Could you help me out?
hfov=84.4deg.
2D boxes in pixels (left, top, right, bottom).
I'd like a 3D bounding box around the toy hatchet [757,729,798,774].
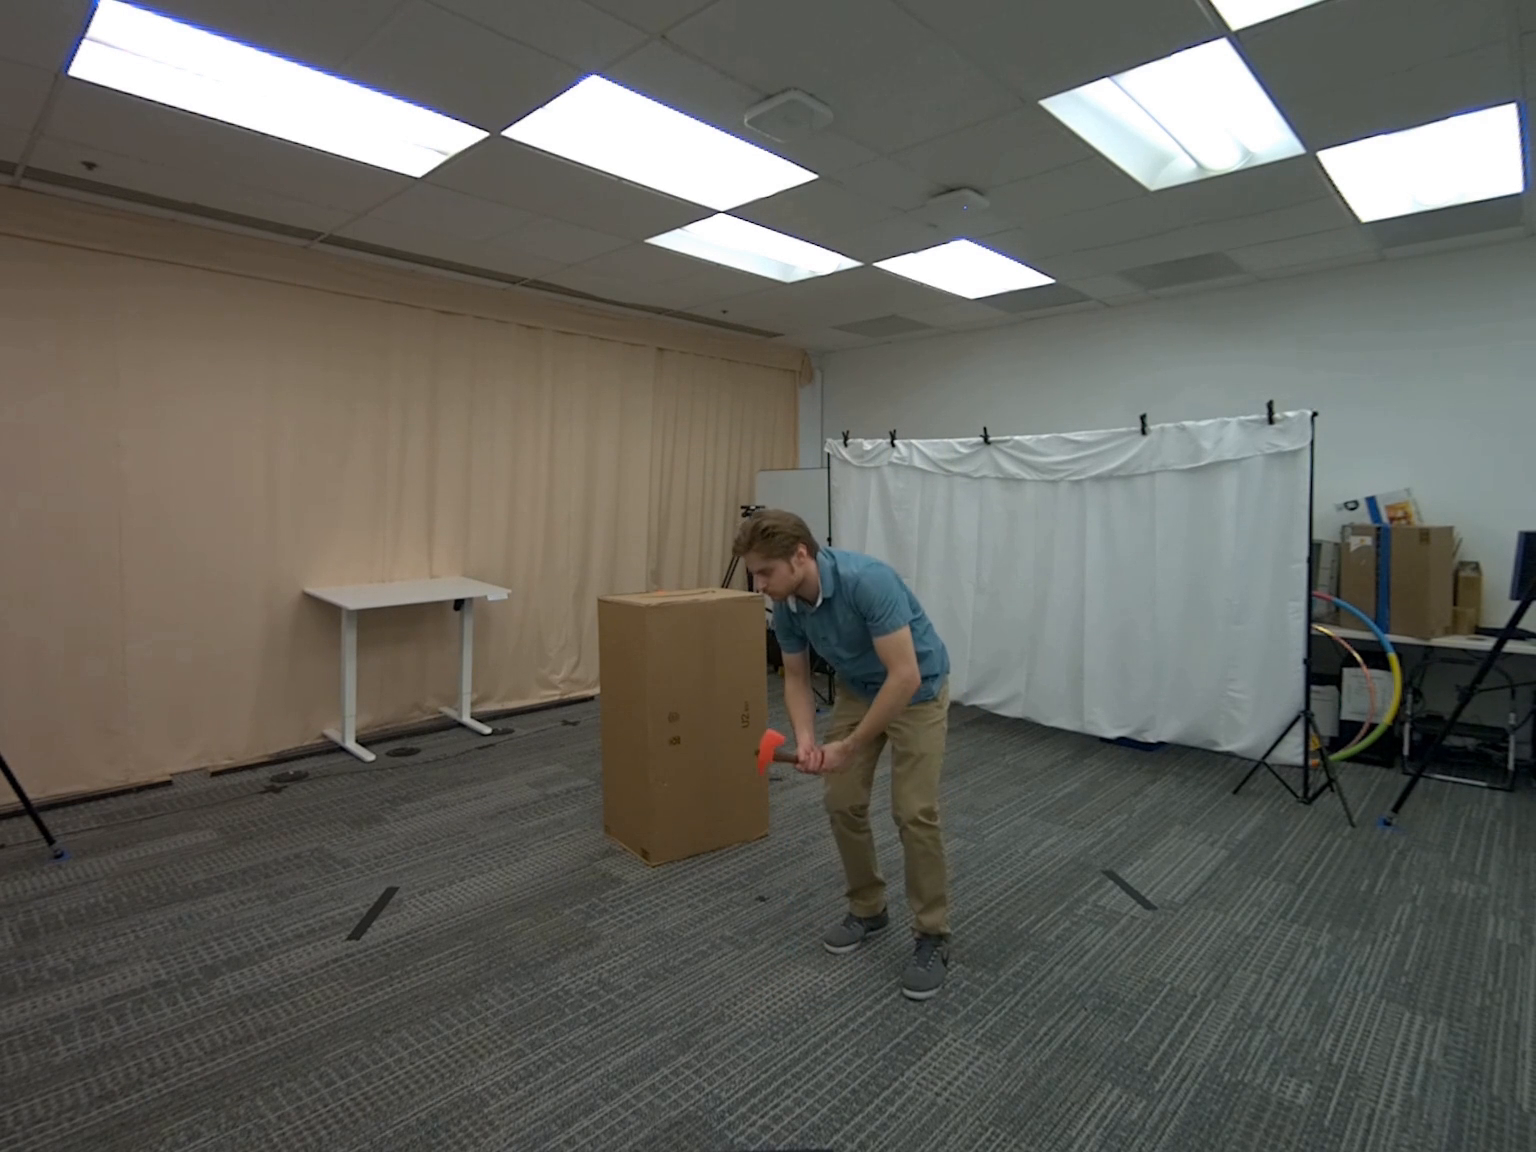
[{"bbox_3d":[0.094,0.496,2.449,0.267,0.131,0.030,-8,-1,-11],"label":"toy hatchet"}]
